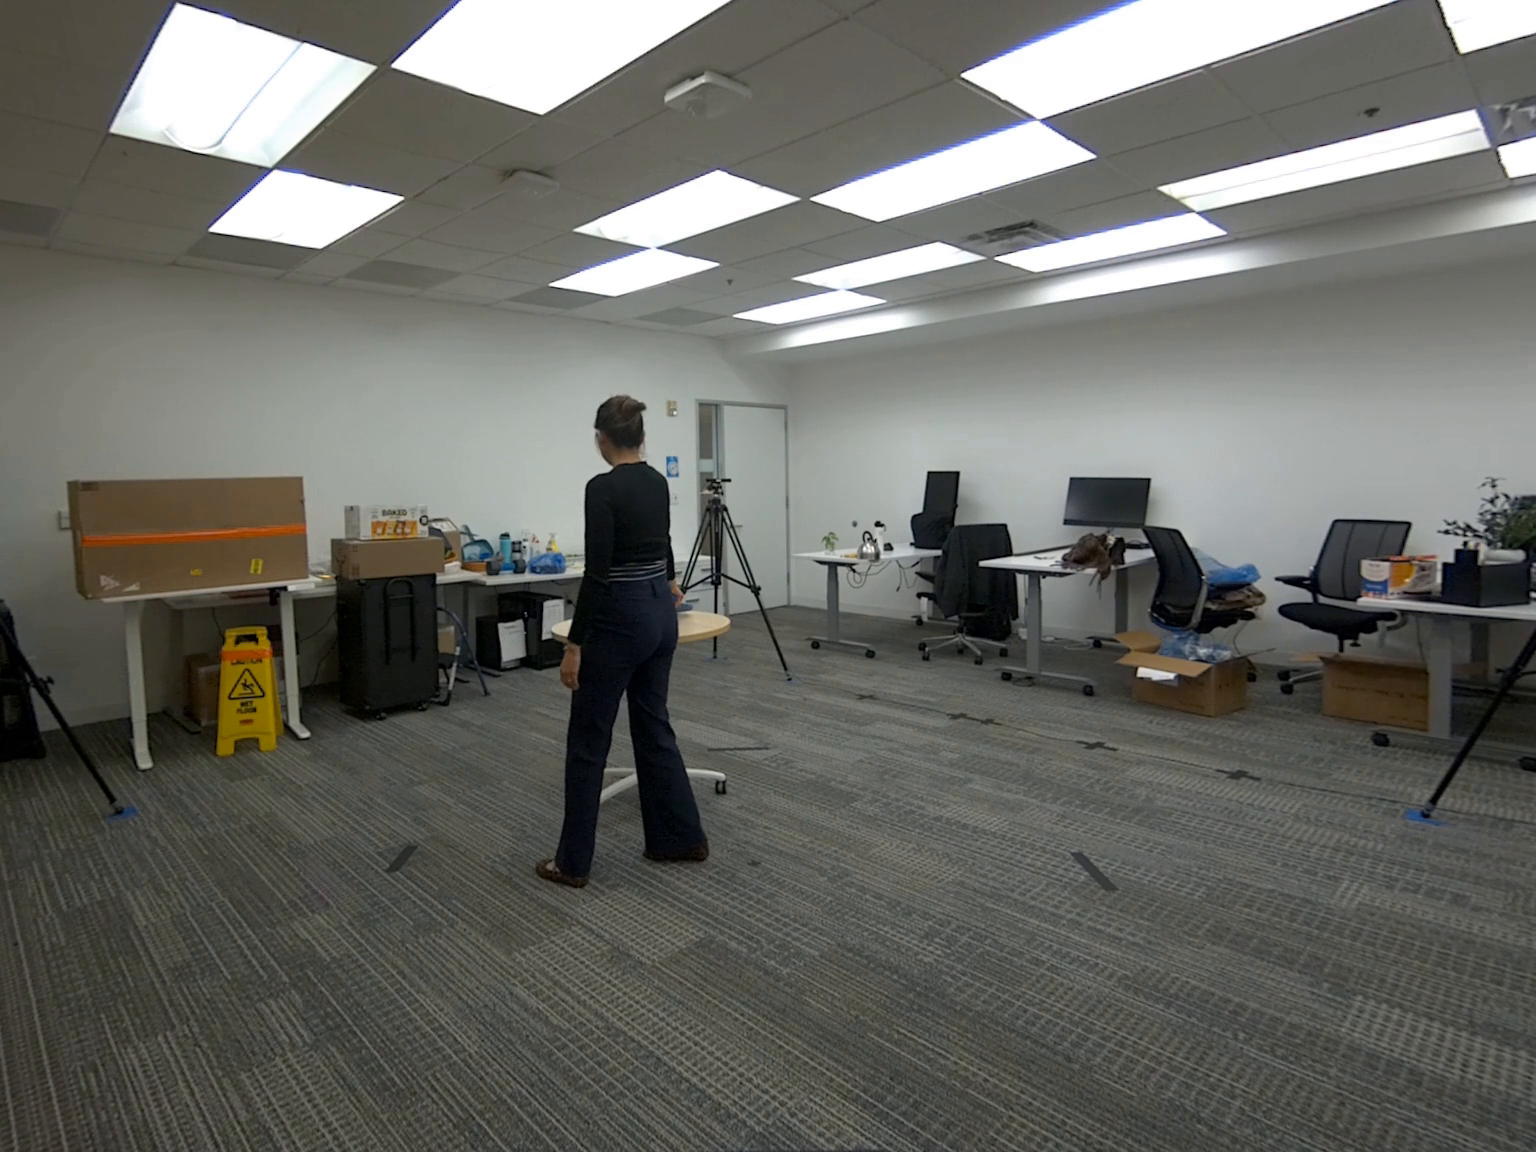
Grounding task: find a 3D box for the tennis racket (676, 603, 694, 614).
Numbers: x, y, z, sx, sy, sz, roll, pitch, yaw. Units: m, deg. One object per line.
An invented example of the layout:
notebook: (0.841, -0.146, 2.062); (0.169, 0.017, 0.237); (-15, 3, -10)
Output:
tennis racket: (-0.430, 0.135, 3.771); (0.213, 0.032, 0.431); (2, -7, -6)
